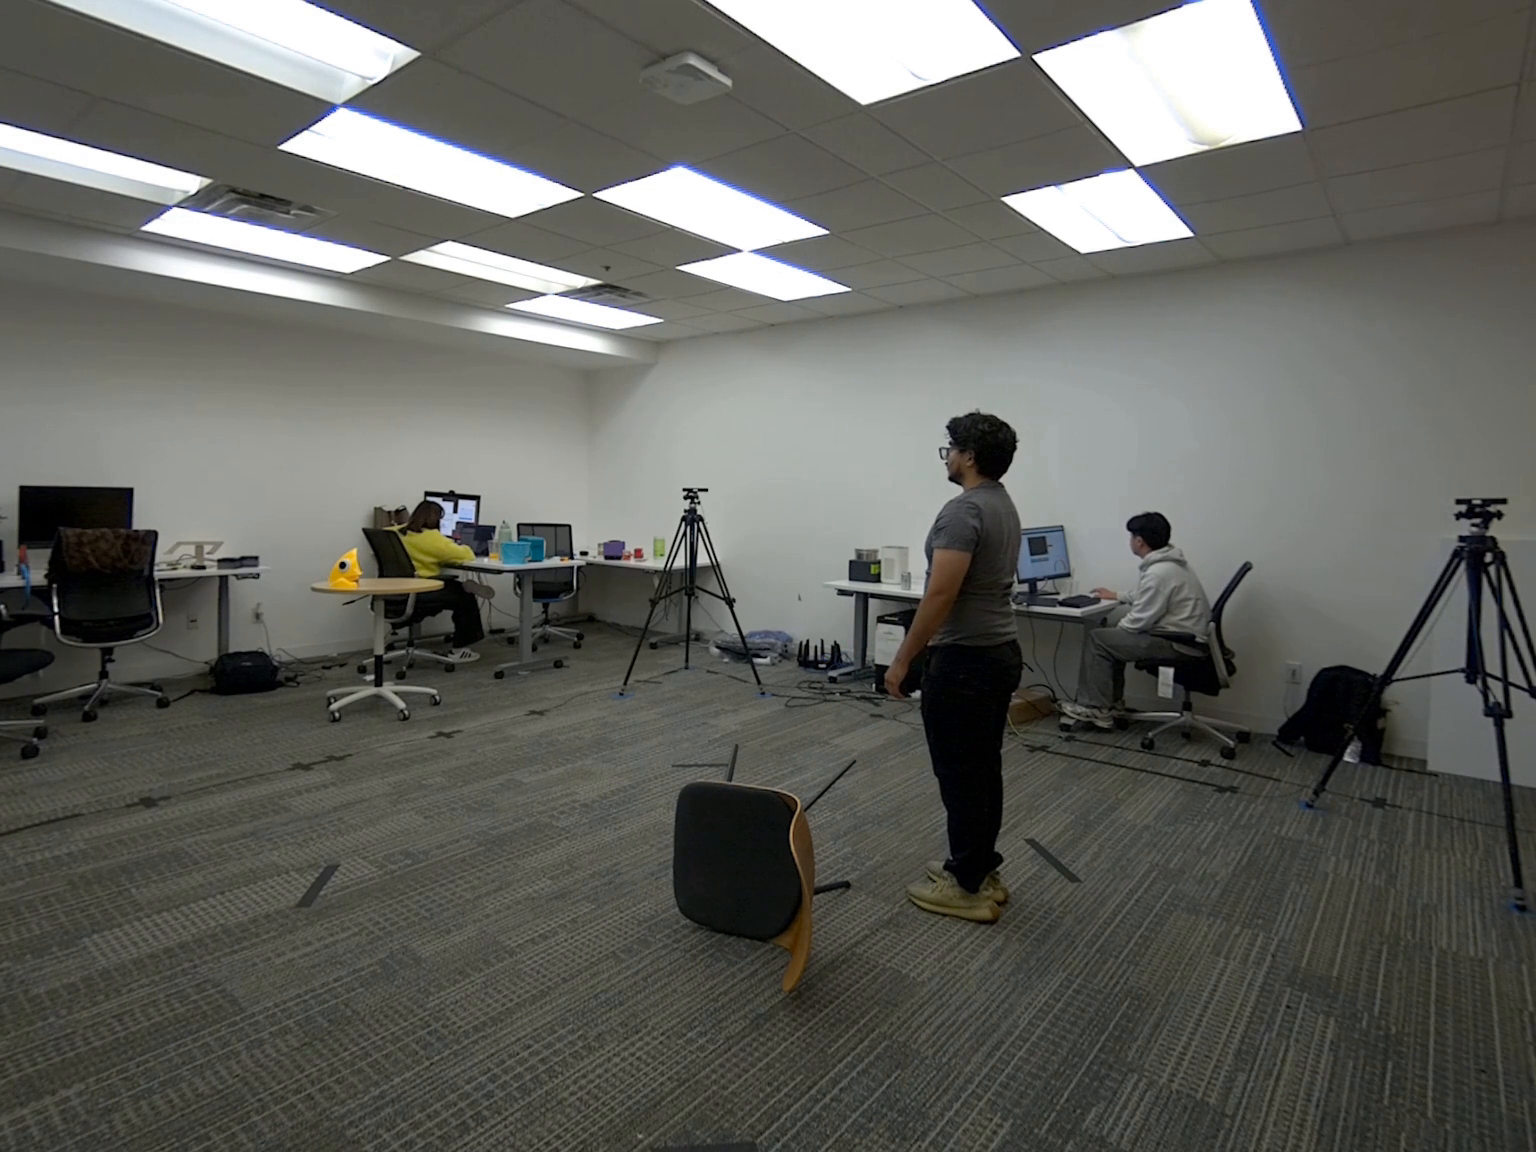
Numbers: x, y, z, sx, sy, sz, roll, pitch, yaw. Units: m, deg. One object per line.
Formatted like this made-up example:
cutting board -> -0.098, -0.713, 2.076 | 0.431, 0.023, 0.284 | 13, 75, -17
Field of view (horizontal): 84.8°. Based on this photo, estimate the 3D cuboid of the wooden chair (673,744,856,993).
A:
wooden chair -> -0.053, 0.881, 2.676 | 0.532, 0.476, 0.866 | 4, 5, 13
